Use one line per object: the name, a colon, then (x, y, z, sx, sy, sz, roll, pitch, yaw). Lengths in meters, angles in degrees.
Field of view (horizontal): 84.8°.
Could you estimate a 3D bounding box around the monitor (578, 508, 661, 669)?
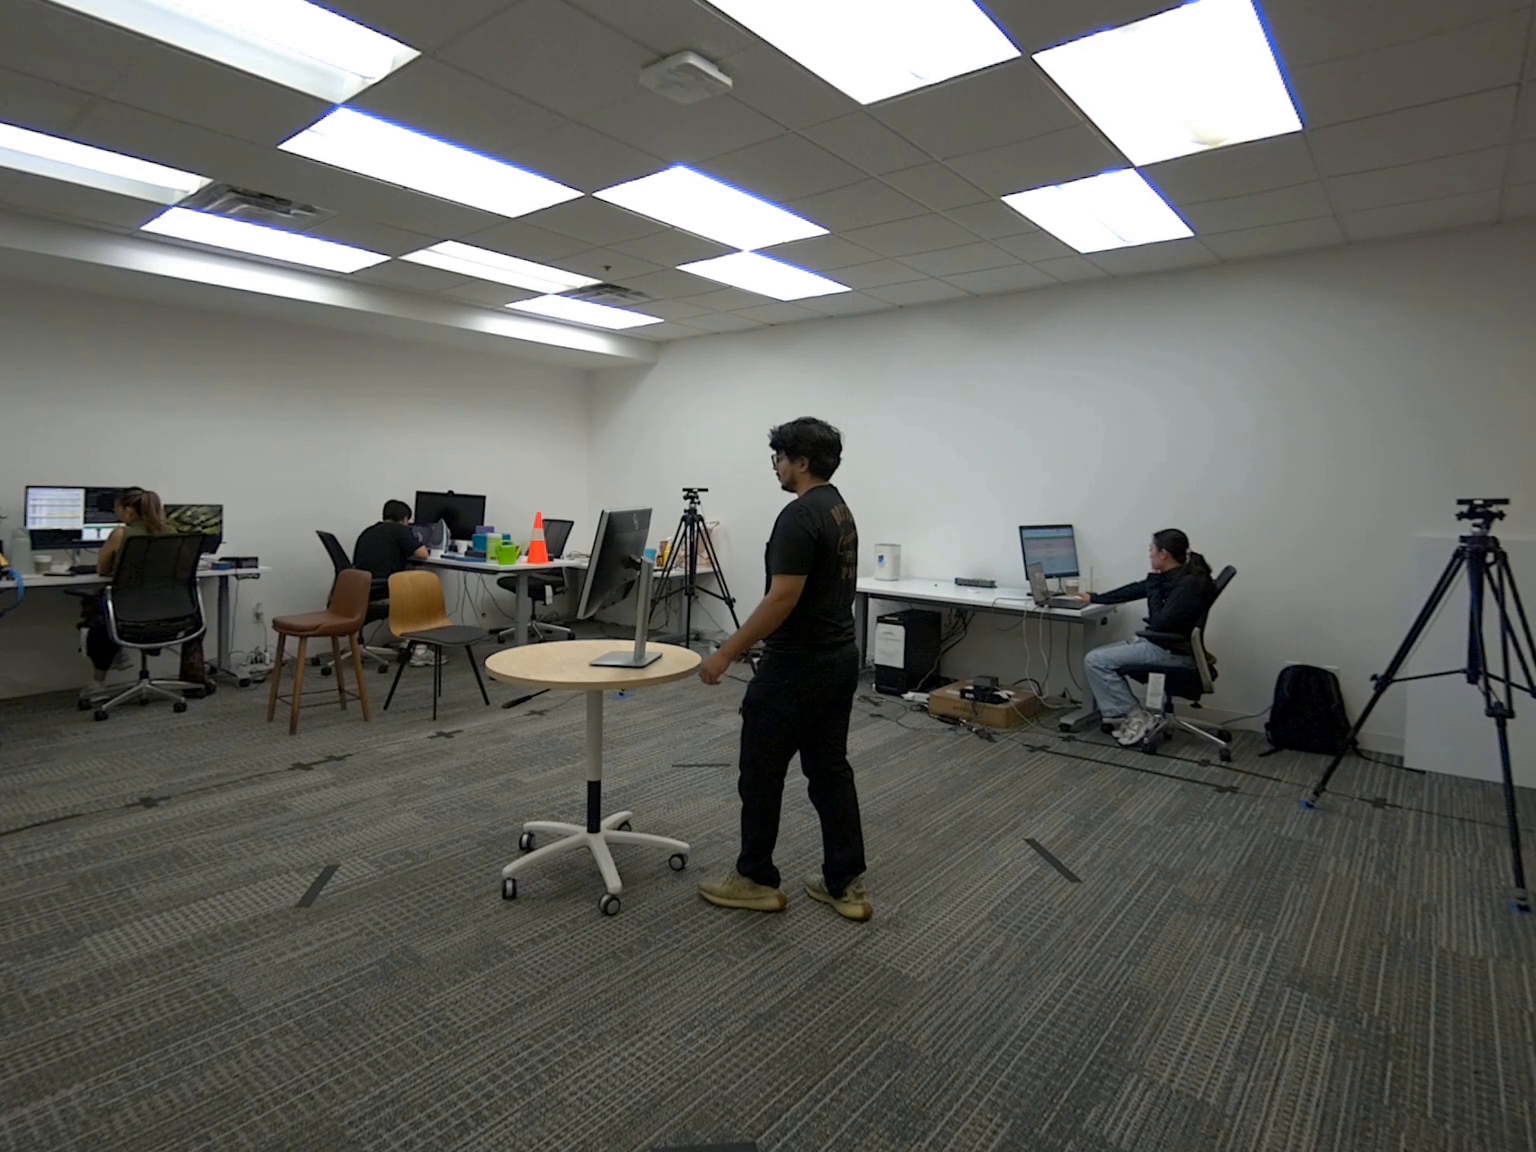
monitor: (-0.486, 0.036, 3.003, 0.212, 0.552, 0.561, 7, 5, 8)
